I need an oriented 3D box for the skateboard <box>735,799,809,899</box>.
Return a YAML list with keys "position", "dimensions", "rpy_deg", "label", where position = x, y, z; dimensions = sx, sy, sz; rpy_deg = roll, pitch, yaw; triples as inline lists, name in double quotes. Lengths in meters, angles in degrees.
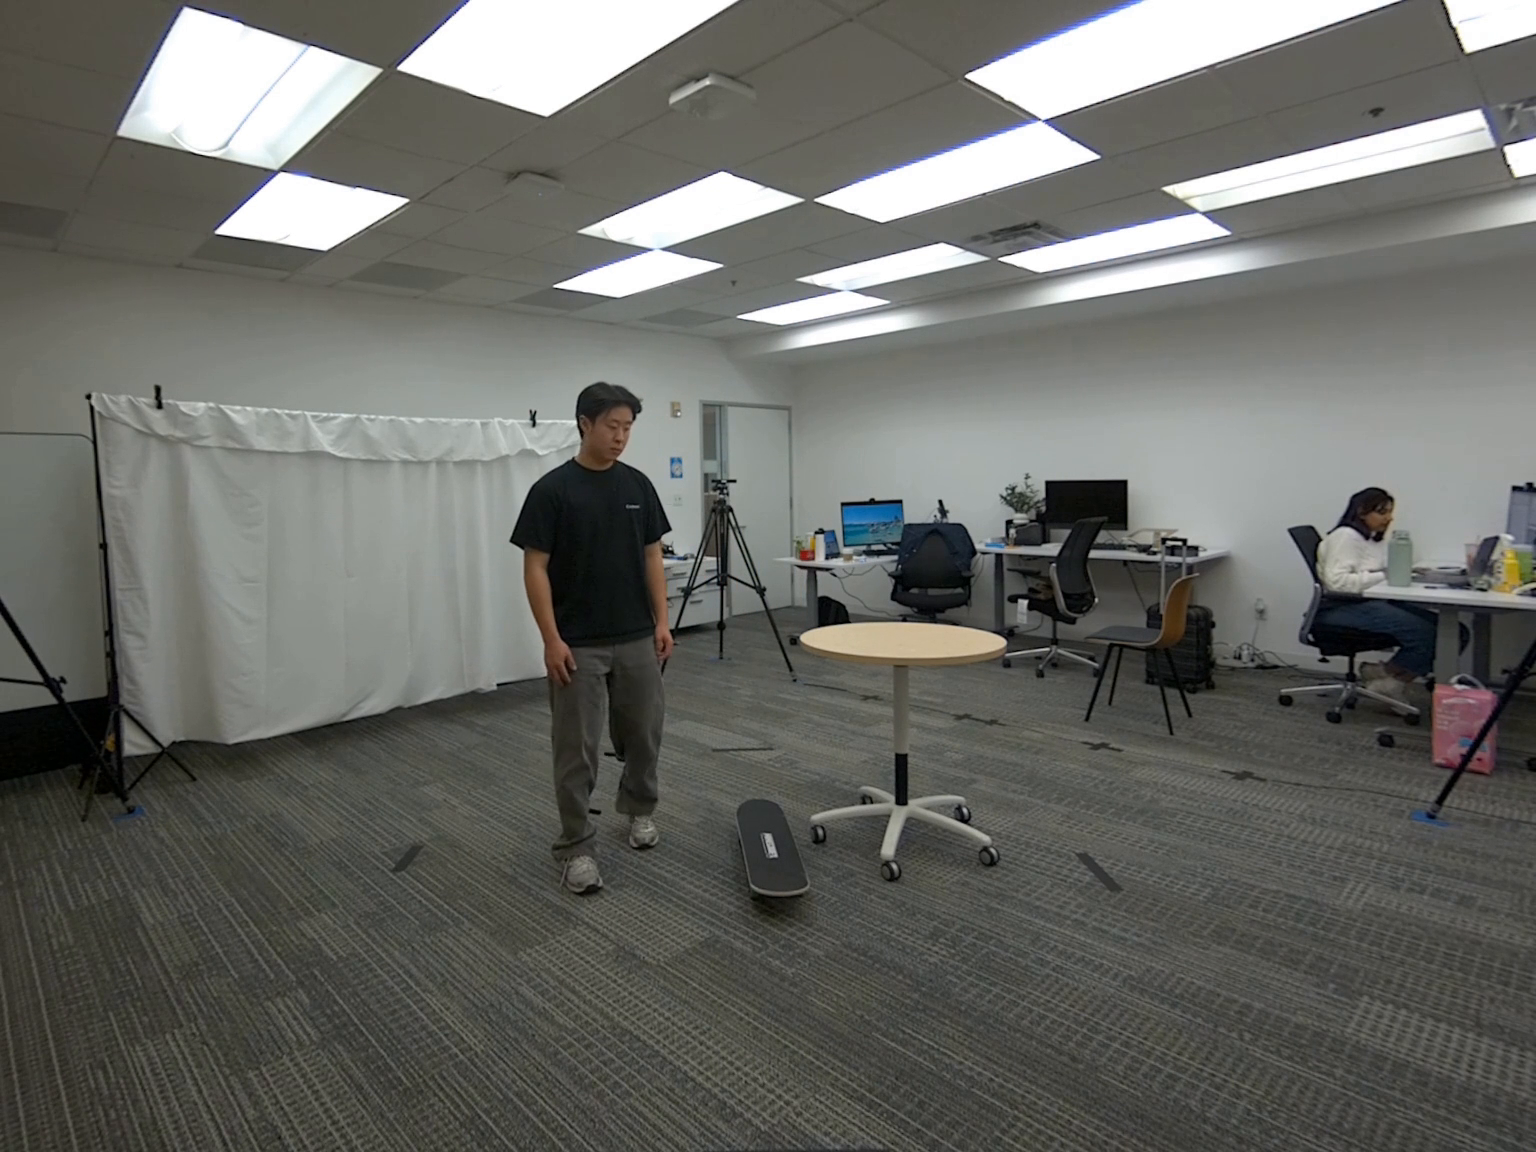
- position: [0.010, 0.995, 3.052]
  dimensions: [0.192, 0.110, 0.793]
  rpy_deg: [-1, 6, -7]
  label: "skateboard"
